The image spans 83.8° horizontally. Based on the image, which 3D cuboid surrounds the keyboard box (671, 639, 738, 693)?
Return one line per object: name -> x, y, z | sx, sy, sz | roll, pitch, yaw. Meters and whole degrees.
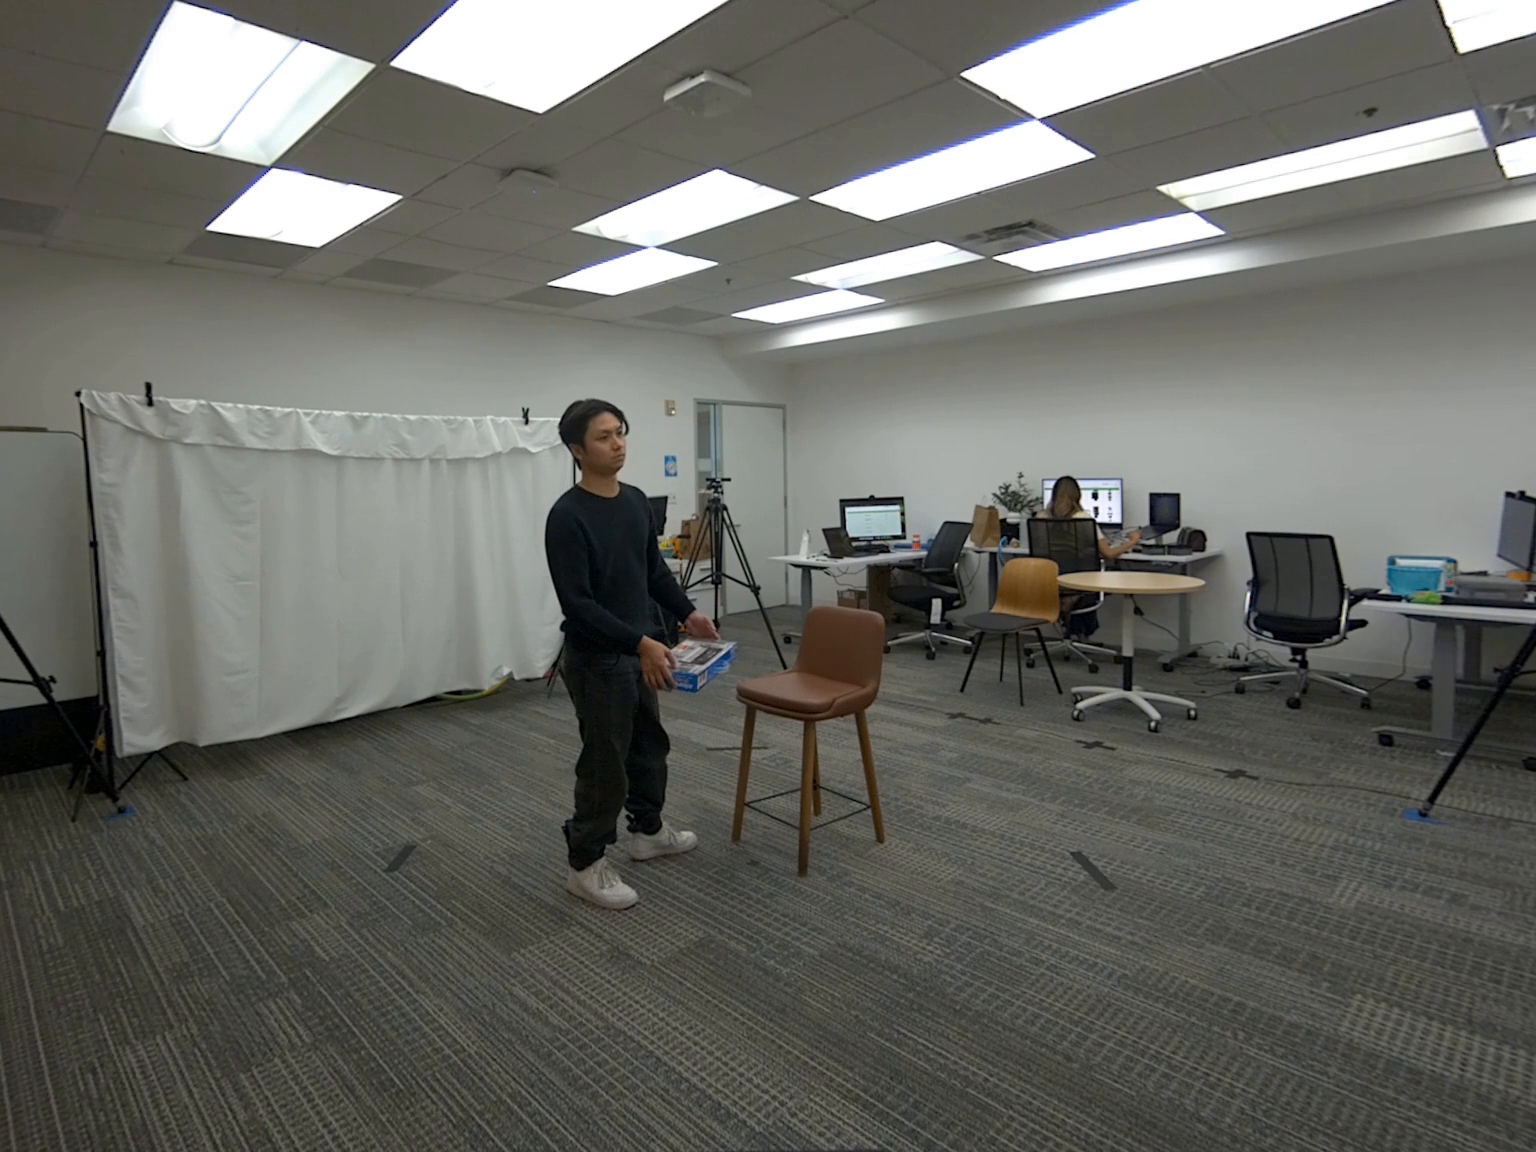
keyboard box -> -0.251, 0.284, 2.815 | 0.179, 0.059, 0.432 | 6, 10, 15
